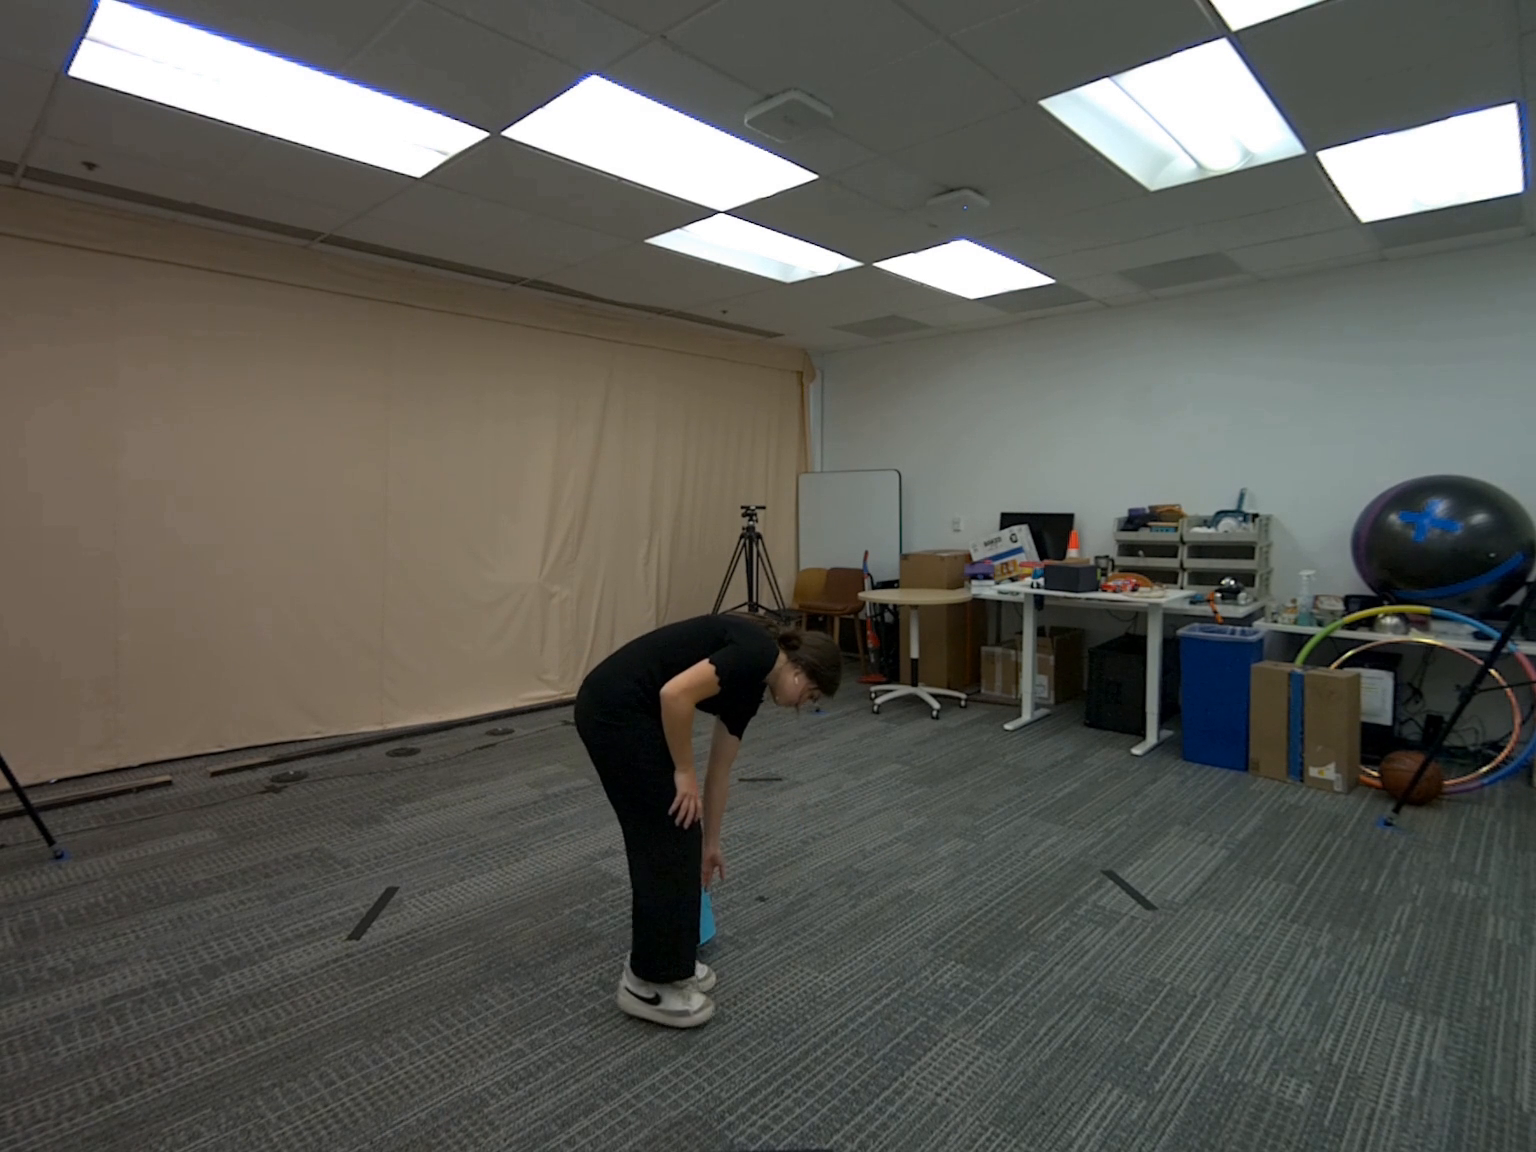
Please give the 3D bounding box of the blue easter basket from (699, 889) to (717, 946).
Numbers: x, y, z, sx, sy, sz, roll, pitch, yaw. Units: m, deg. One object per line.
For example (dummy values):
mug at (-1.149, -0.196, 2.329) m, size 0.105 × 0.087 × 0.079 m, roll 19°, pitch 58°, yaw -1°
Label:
blue easter basket at (-0.276, 1.073, 2.639) m, size 0.243 × 0.157 × 0.243 m, roll -17°, pitch -4°, yaw -3°
